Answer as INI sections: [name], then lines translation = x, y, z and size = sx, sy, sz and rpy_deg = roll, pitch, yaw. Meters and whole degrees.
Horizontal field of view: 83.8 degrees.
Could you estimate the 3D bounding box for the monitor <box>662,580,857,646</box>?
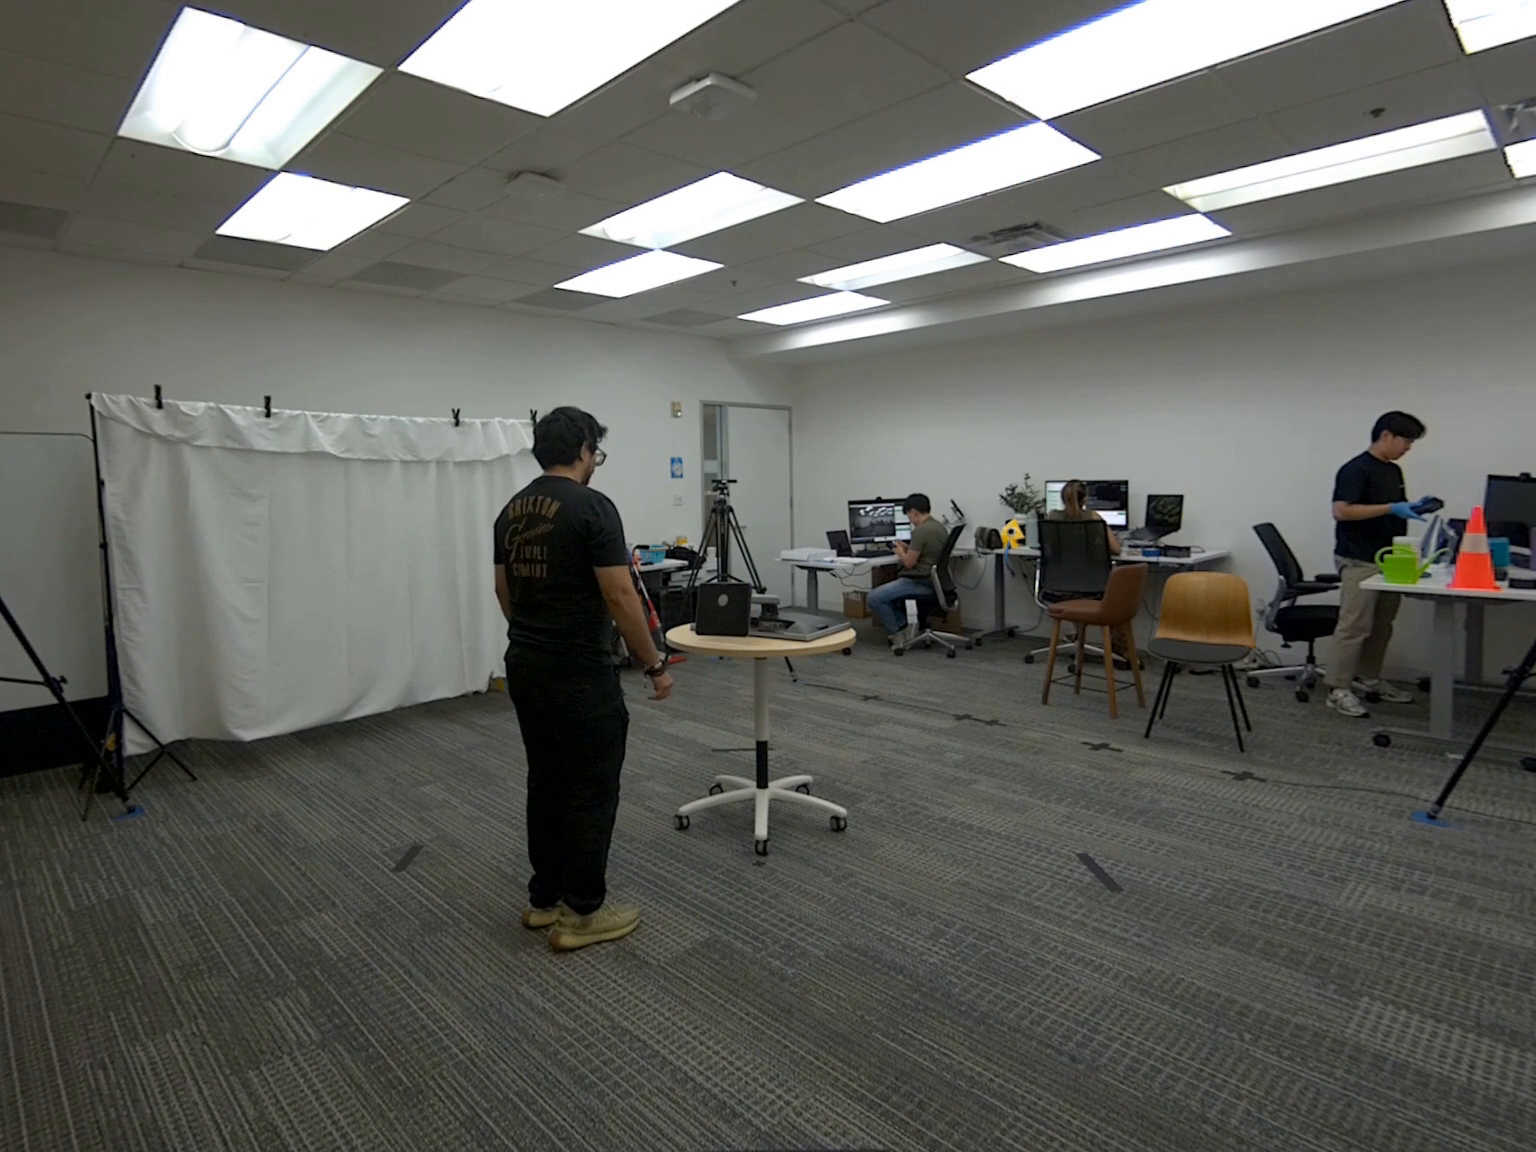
[monitor]
translation = -0.028, 0.134, 3.454
size = 0.581, 0.210, 0.538
rpy_deg = 2, 1, 33
